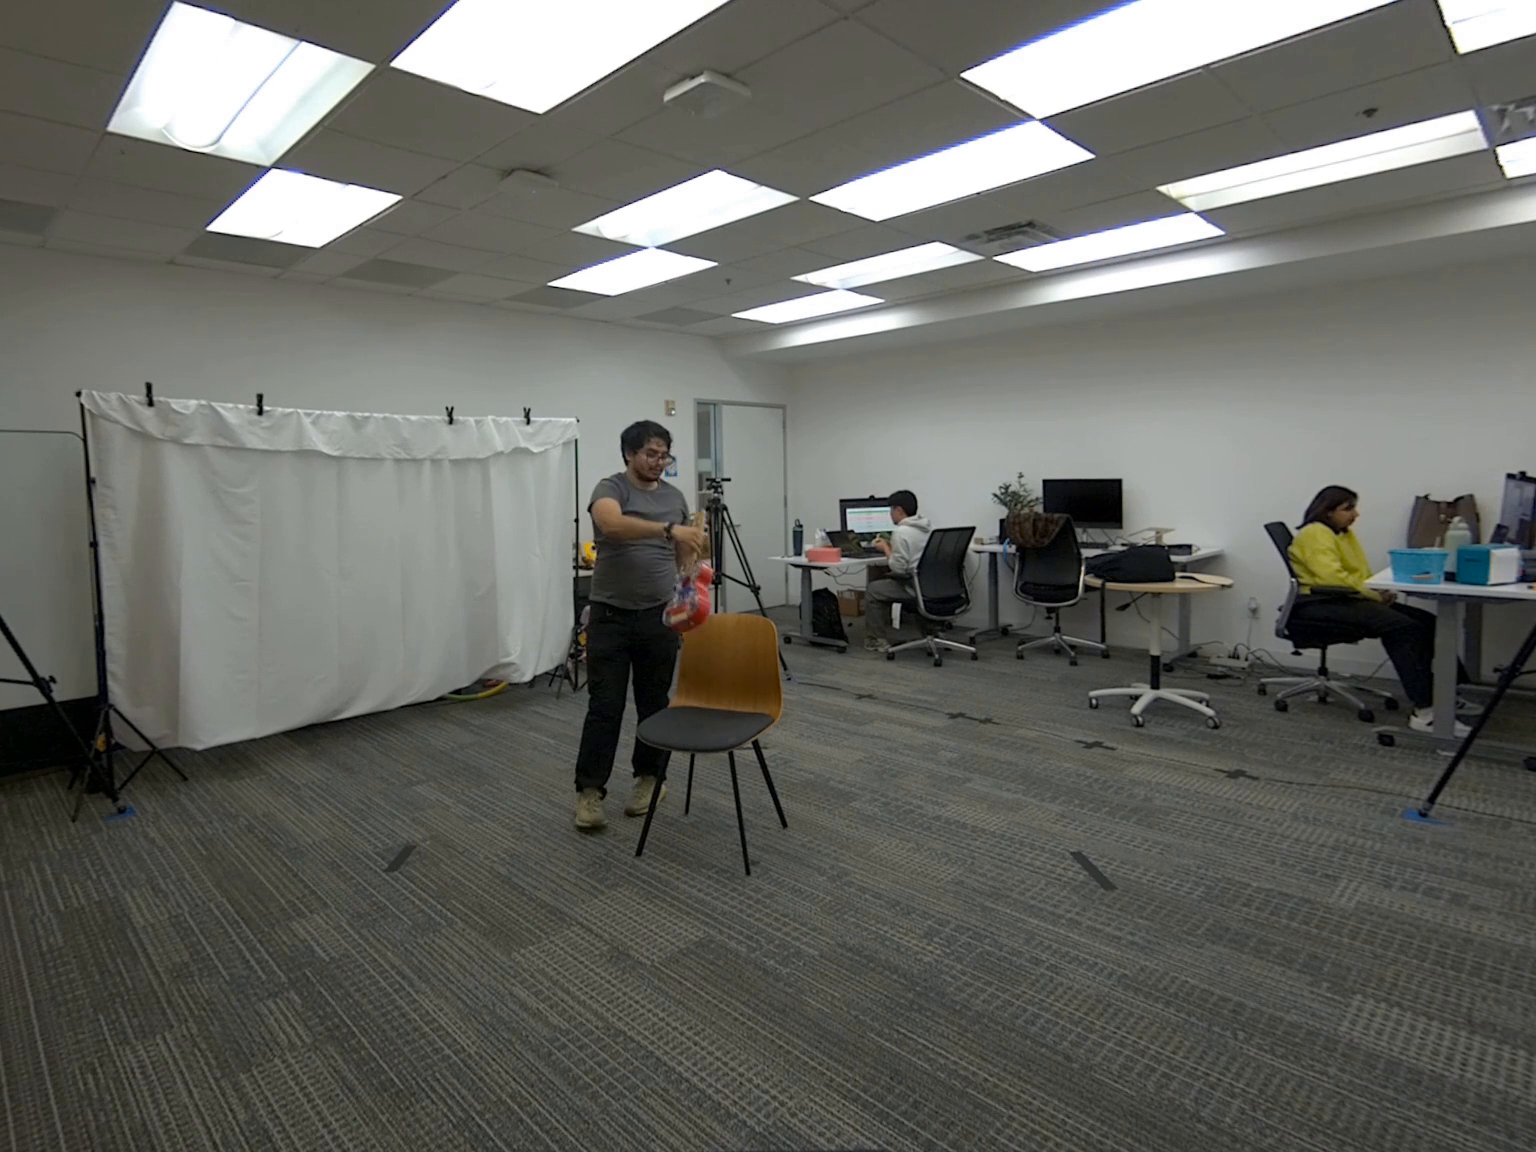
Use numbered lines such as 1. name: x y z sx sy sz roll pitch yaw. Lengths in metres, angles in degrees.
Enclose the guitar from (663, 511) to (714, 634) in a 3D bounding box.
1. guitar: -0.265 -0.044 3.178 0.197 0.505 0.068 -14 -37 43
